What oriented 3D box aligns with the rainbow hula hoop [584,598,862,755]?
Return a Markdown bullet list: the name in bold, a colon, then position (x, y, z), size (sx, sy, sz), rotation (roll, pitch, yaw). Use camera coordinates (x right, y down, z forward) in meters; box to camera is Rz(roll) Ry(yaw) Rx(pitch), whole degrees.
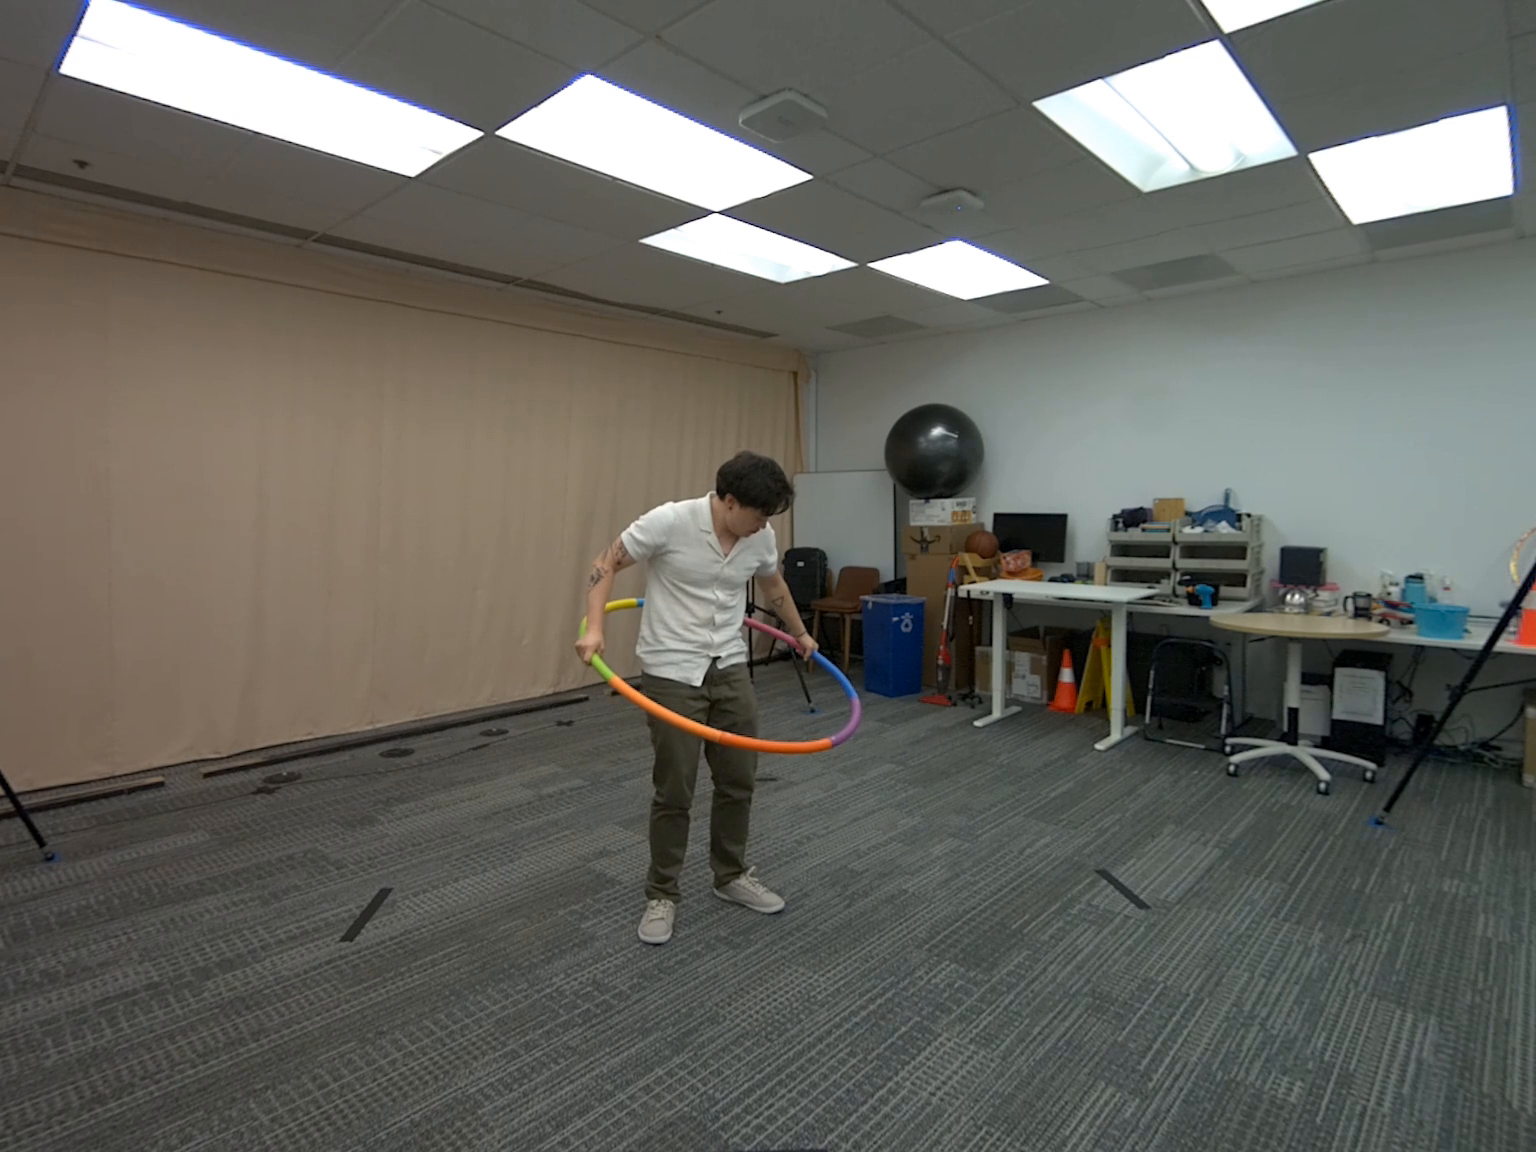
- **rainbow hula hoop**: position (-0.161, 0.298, 2.849), size (0.972, 0.035, 0.991), rotation (15, 18, -7)
